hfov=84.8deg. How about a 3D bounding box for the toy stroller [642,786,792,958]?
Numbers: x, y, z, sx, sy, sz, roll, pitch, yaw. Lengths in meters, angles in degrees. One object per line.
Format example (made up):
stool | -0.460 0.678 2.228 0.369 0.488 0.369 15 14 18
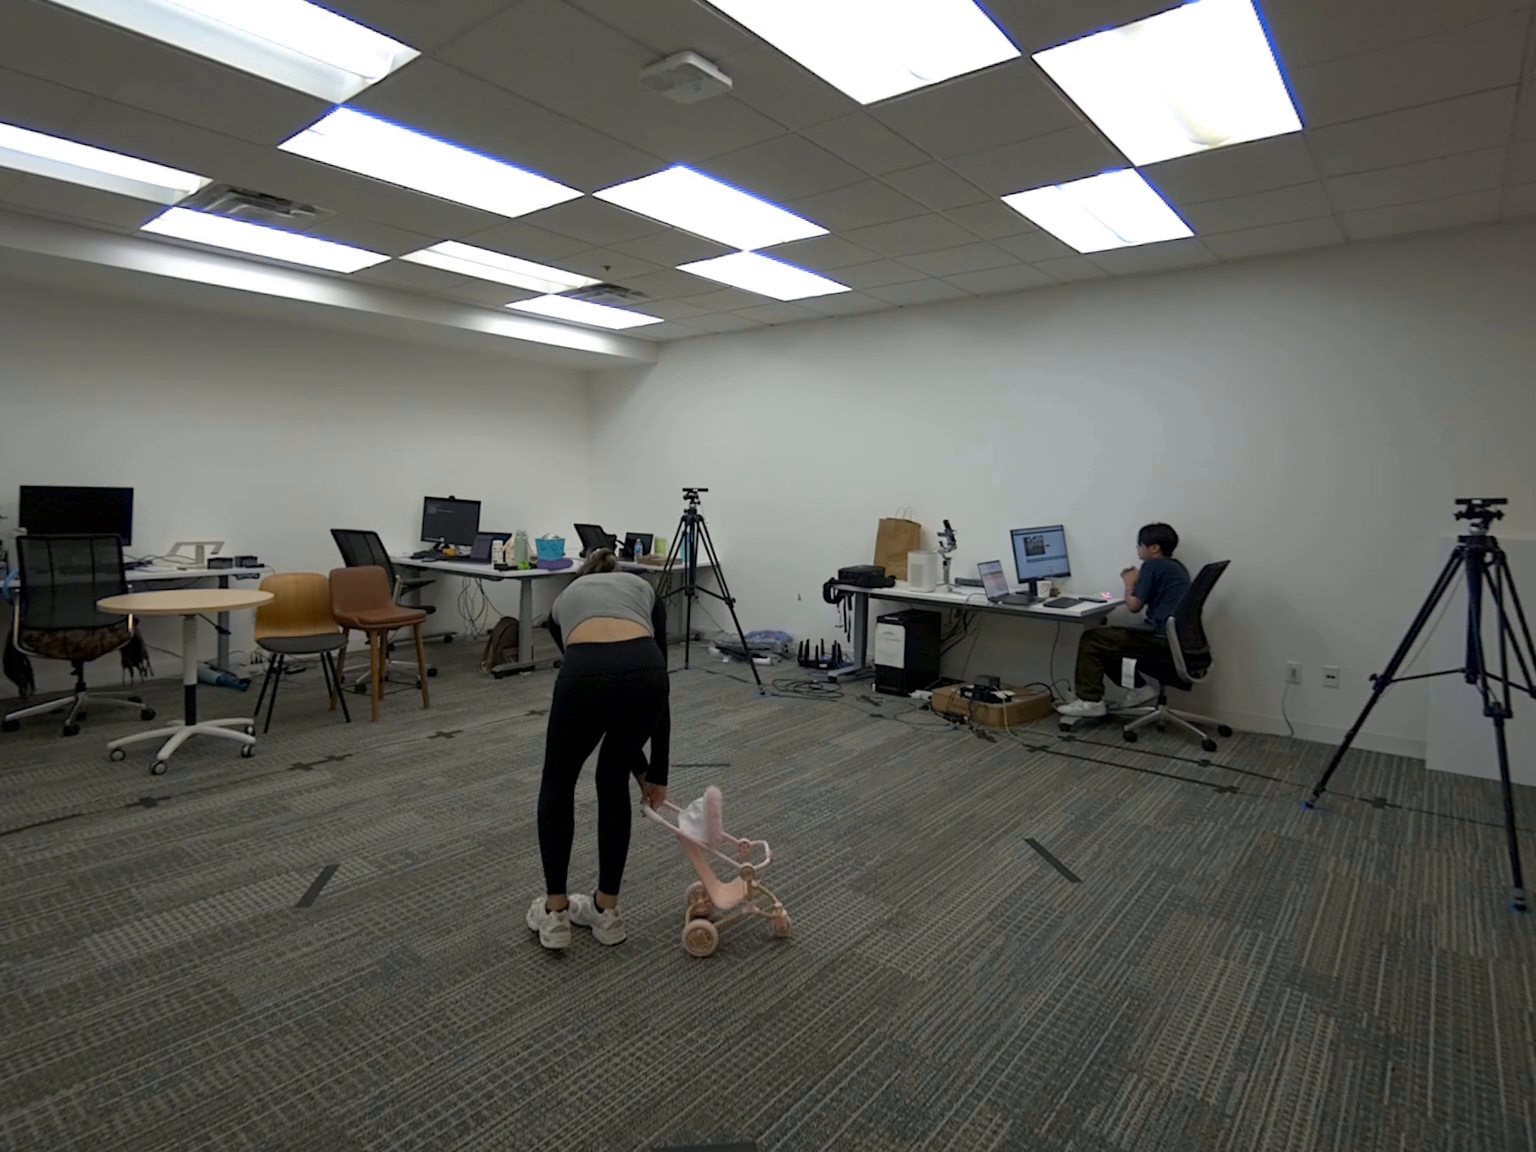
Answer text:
toy stroller | -0.154 0.897 2.631 0.342 0.534 0.281 -16 1 3
